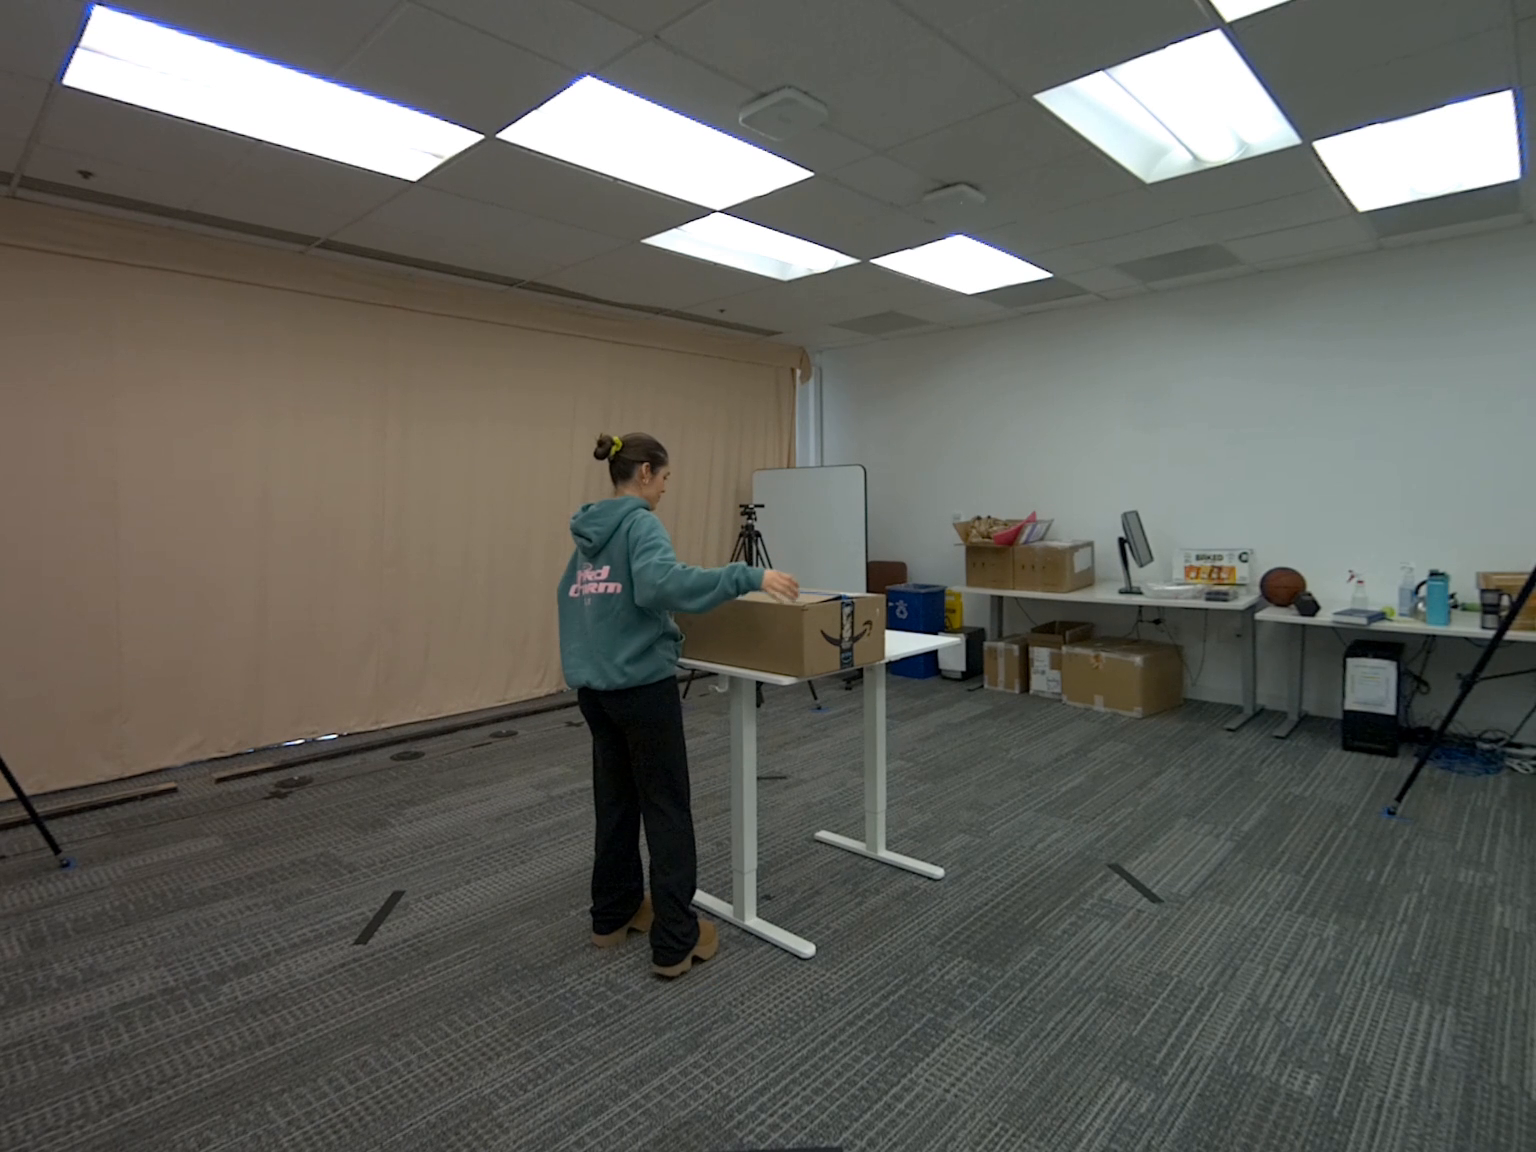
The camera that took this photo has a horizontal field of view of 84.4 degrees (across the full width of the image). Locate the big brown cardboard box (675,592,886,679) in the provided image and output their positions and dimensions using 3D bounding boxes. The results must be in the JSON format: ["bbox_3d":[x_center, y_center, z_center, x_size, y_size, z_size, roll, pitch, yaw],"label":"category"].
[{"bbox_3d":[0.037,0.167,2.777,0.608,0.233,0.405,3,5,43],"label":"big brown cardboard box"}]
